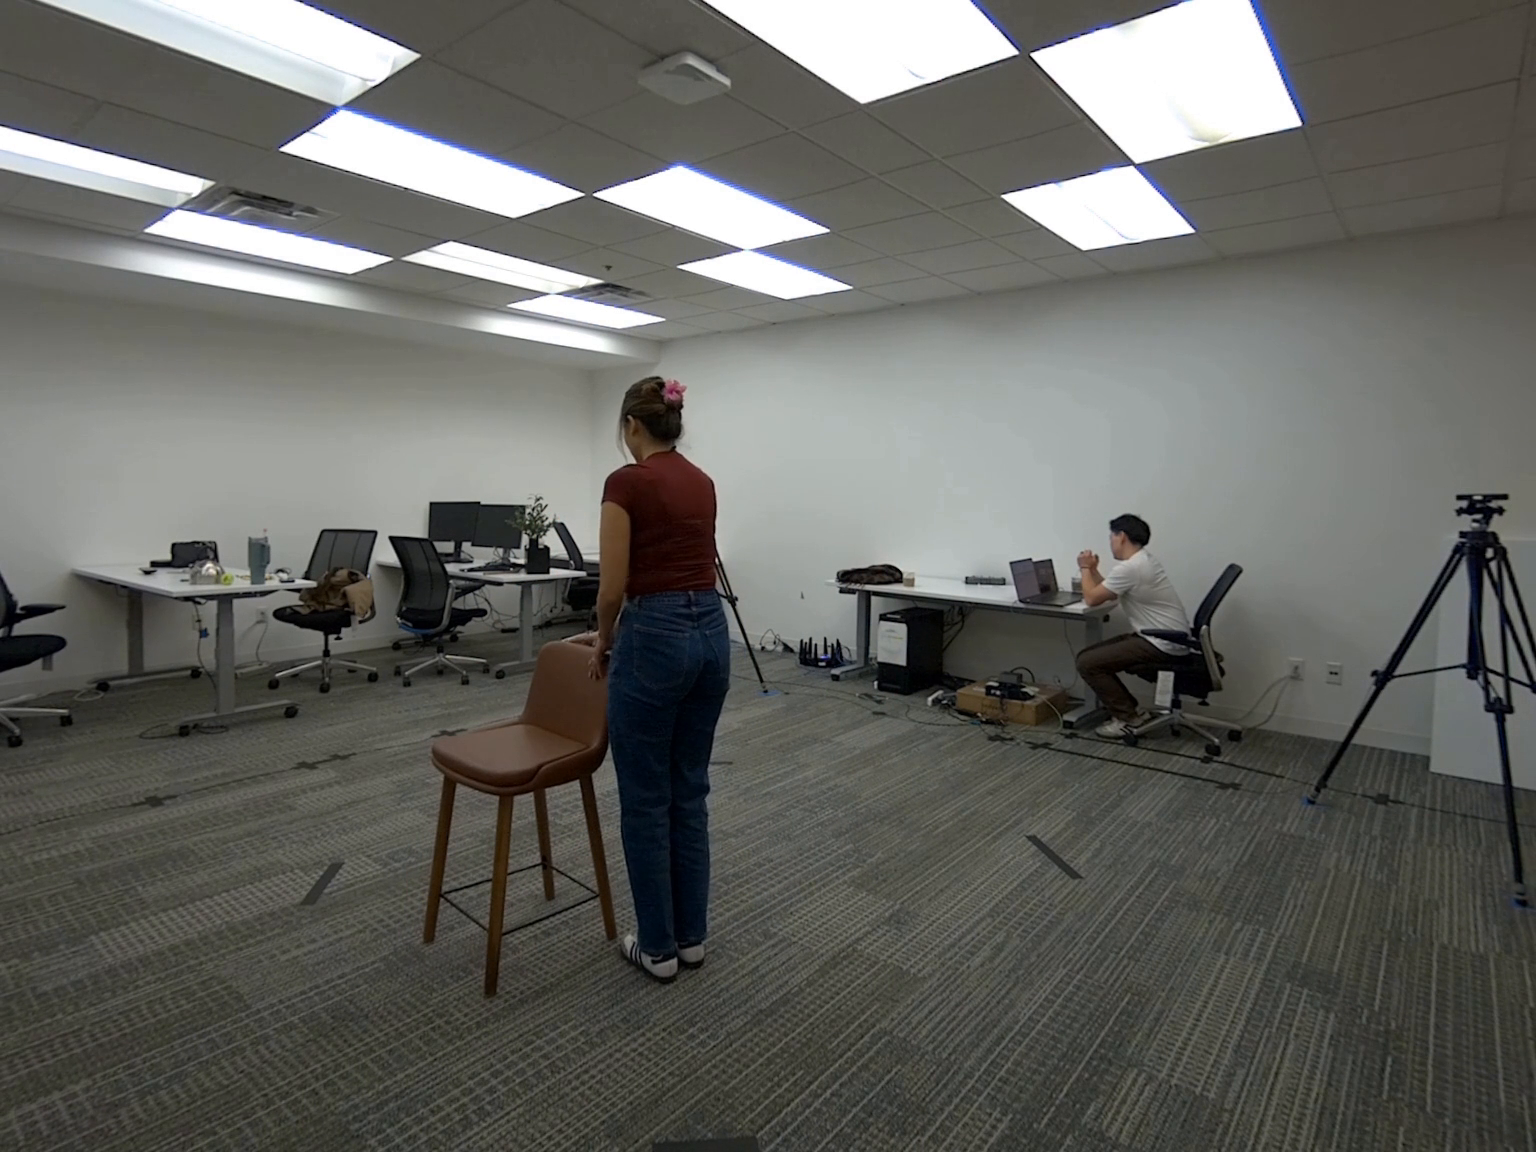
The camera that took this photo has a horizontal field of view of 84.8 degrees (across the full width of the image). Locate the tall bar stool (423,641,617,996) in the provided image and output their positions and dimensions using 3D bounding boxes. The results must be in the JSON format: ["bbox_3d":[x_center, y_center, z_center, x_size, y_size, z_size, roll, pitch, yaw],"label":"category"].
[{"bbox_3d":[-0.755,0.678,2.581,0.472,0.888,0.453,4,3,45],"label":"tall bar stool"}]
